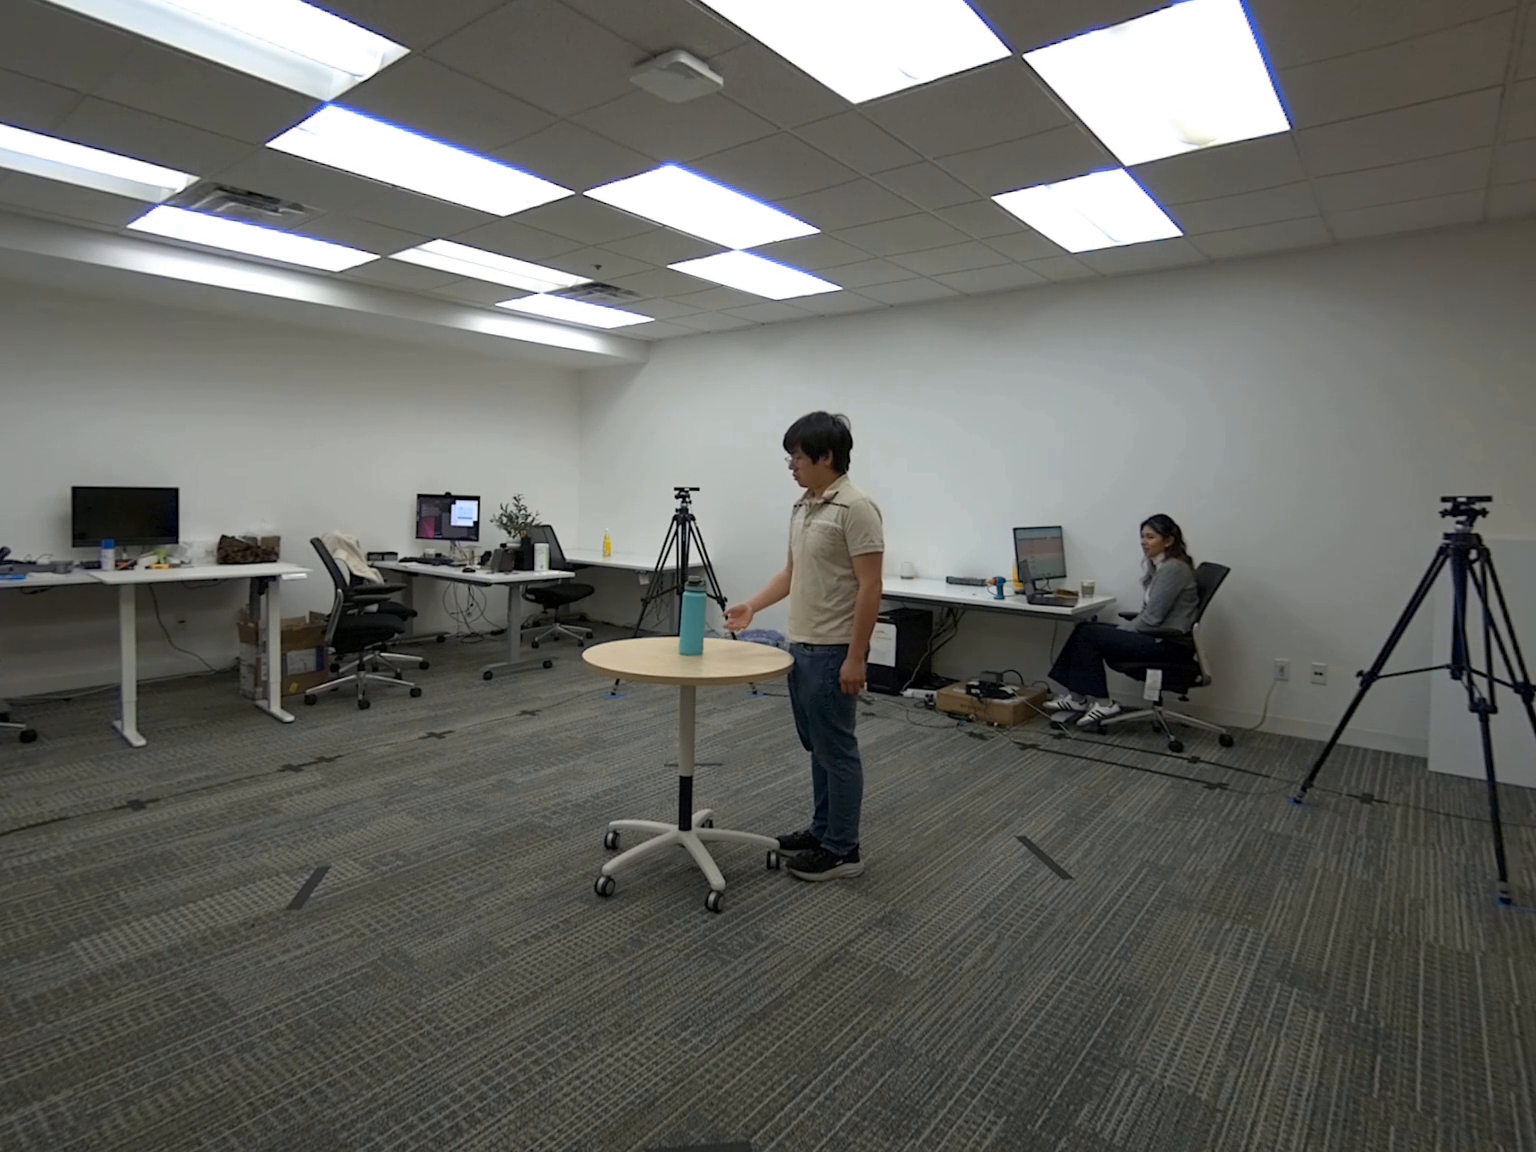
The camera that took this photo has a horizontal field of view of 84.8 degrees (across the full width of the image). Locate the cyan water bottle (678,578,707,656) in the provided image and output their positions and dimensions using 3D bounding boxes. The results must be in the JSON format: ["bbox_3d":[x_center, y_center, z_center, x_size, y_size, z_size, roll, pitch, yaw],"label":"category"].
[{"bbox_3d":[-0.288,0.142,3.117,0.092,0.282,0.093,4,3,-2],"label":"cyan water bottle"}]
